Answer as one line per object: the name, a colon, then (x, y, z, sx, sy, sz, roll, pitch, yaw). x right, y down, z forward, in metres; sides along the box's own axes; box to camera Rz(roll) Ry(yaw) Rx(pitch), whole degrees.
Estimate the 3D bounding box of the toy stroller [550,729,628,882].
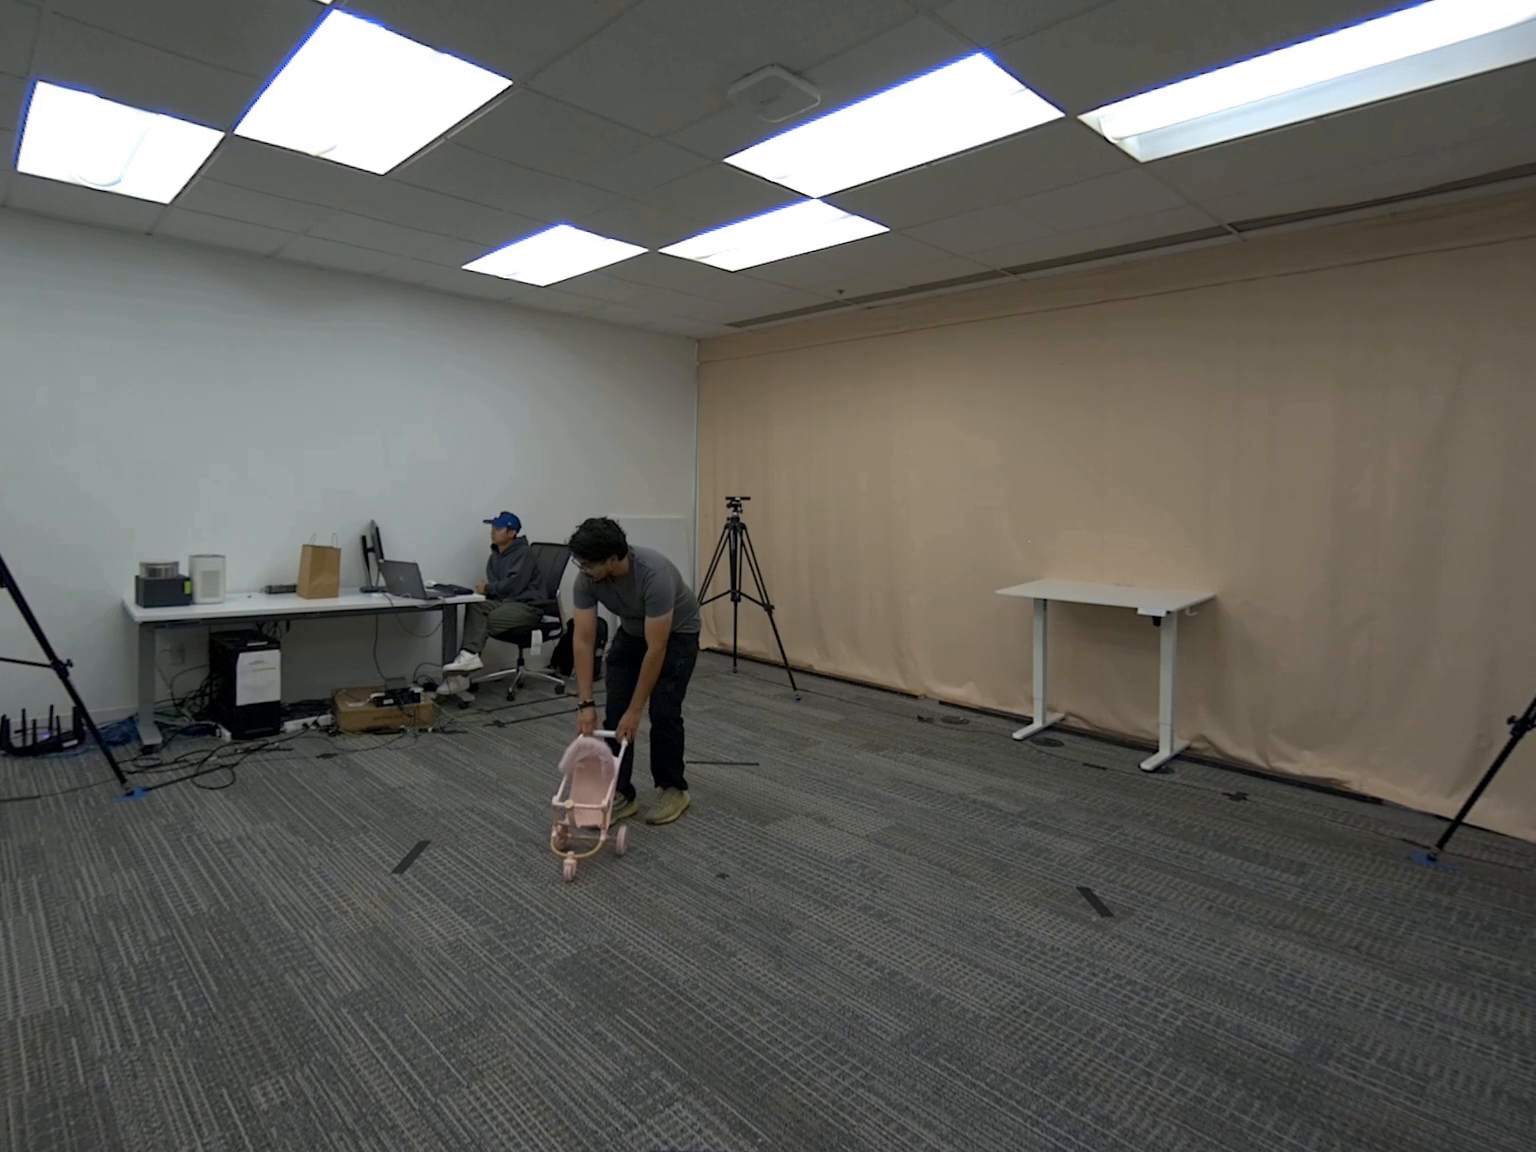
toy stroller: (-0.707, 0.866, 3.206, 0.284, 0.539, 0.335, 2, -11, 10)
